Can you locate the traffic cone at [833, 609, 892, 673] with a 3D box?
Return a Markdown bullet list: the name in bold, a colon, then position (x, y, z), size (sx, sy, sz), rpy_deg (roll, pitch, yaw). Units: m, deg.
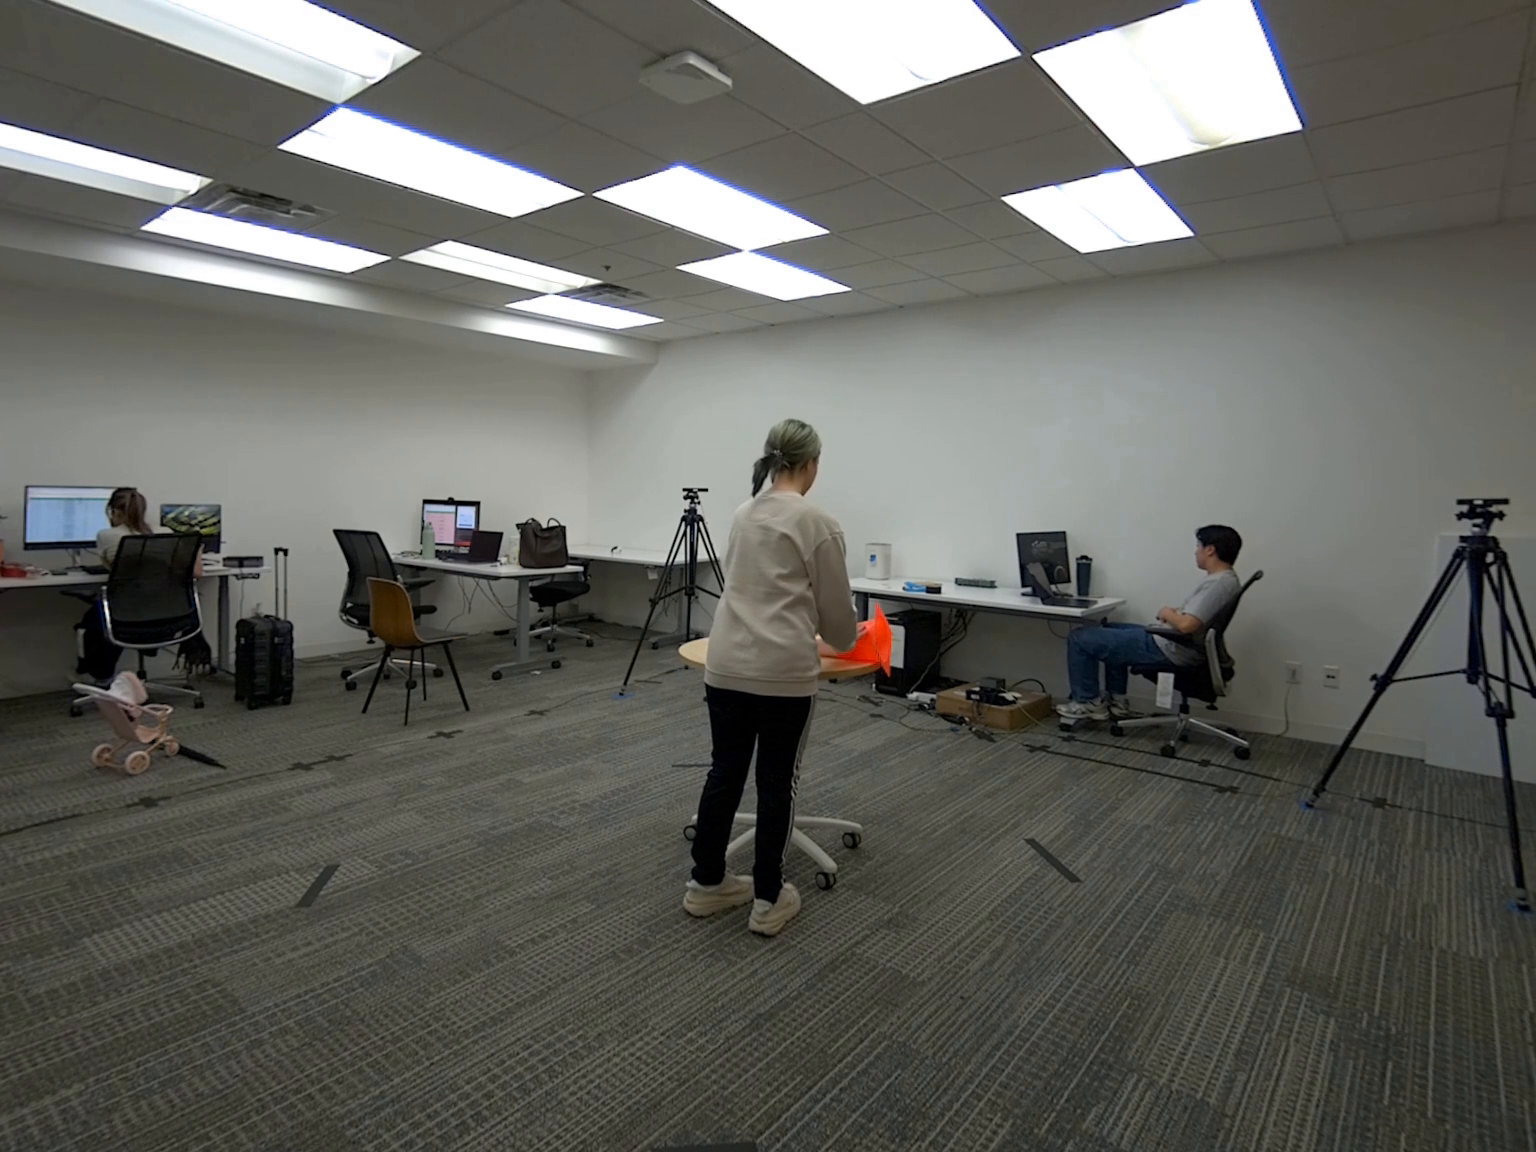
- **traffic cone**: position (0.227, 0.243, 3.119), size (0.391, 0.209, 0.195), rpy_deg (-7, -37, 23)
